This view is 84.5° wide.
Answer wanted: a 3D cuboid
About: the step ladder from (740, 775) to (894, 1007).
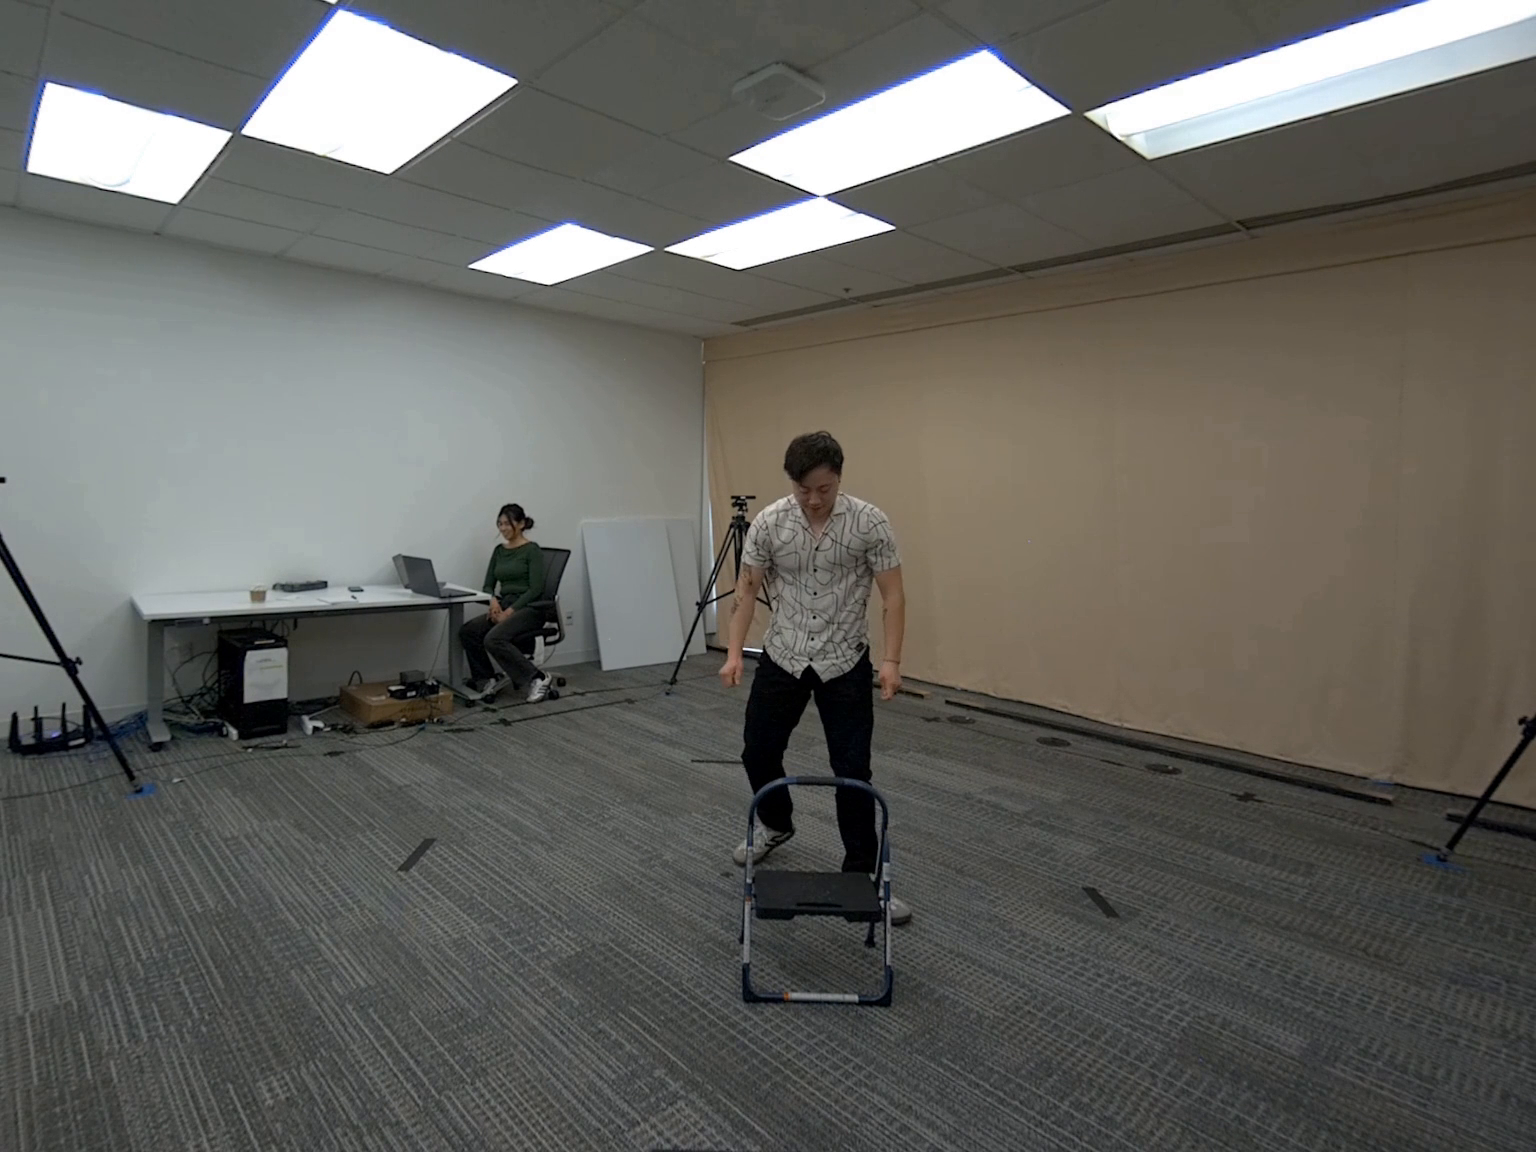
[{"bbox_3d":[0.132,0.868,2.461,0.430,0.604,0.350,1,4,-1],"label":"step ladder"}]
